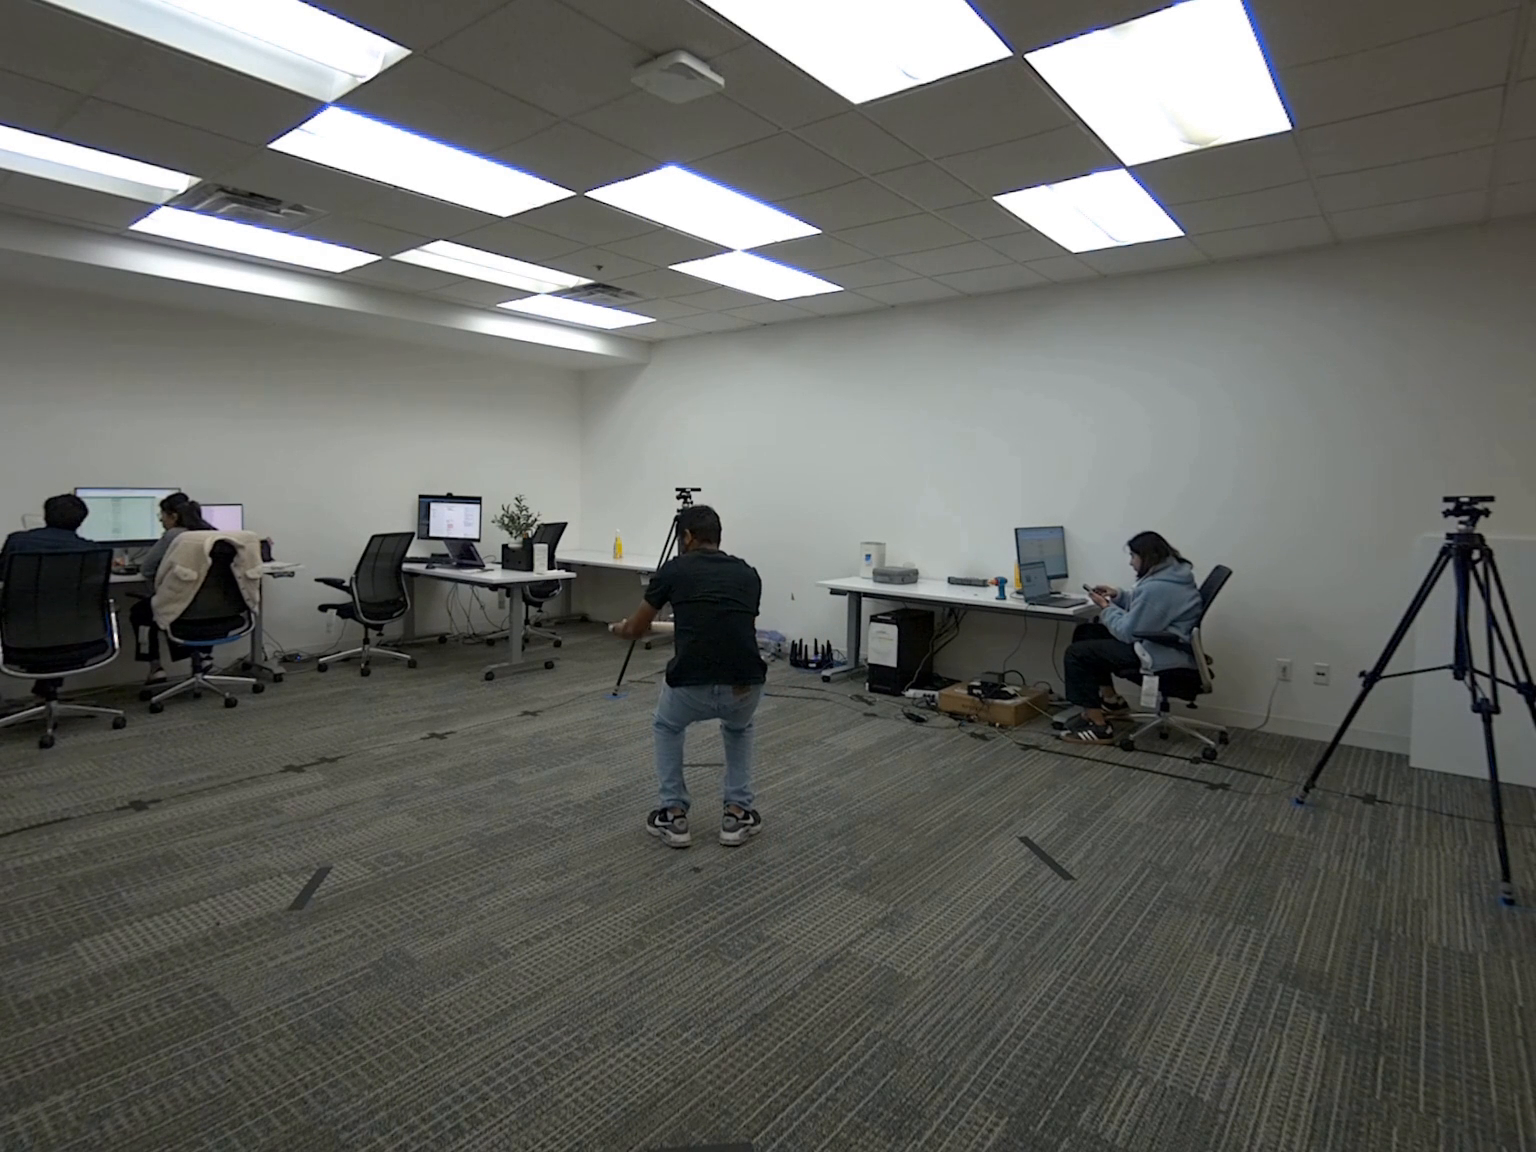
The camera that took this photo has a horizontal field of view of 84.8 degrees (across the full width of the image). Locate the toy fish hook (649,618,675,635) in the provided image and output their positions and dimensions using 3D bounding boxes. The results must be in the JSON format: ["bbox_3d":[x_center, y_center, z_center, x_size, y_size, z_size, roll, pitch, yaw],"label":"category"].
[{"bbox_3d":[-0.511,0.215,3.961,0.500,0.048,0.230,0,11,-13],"label":"toy fish hook"}]
